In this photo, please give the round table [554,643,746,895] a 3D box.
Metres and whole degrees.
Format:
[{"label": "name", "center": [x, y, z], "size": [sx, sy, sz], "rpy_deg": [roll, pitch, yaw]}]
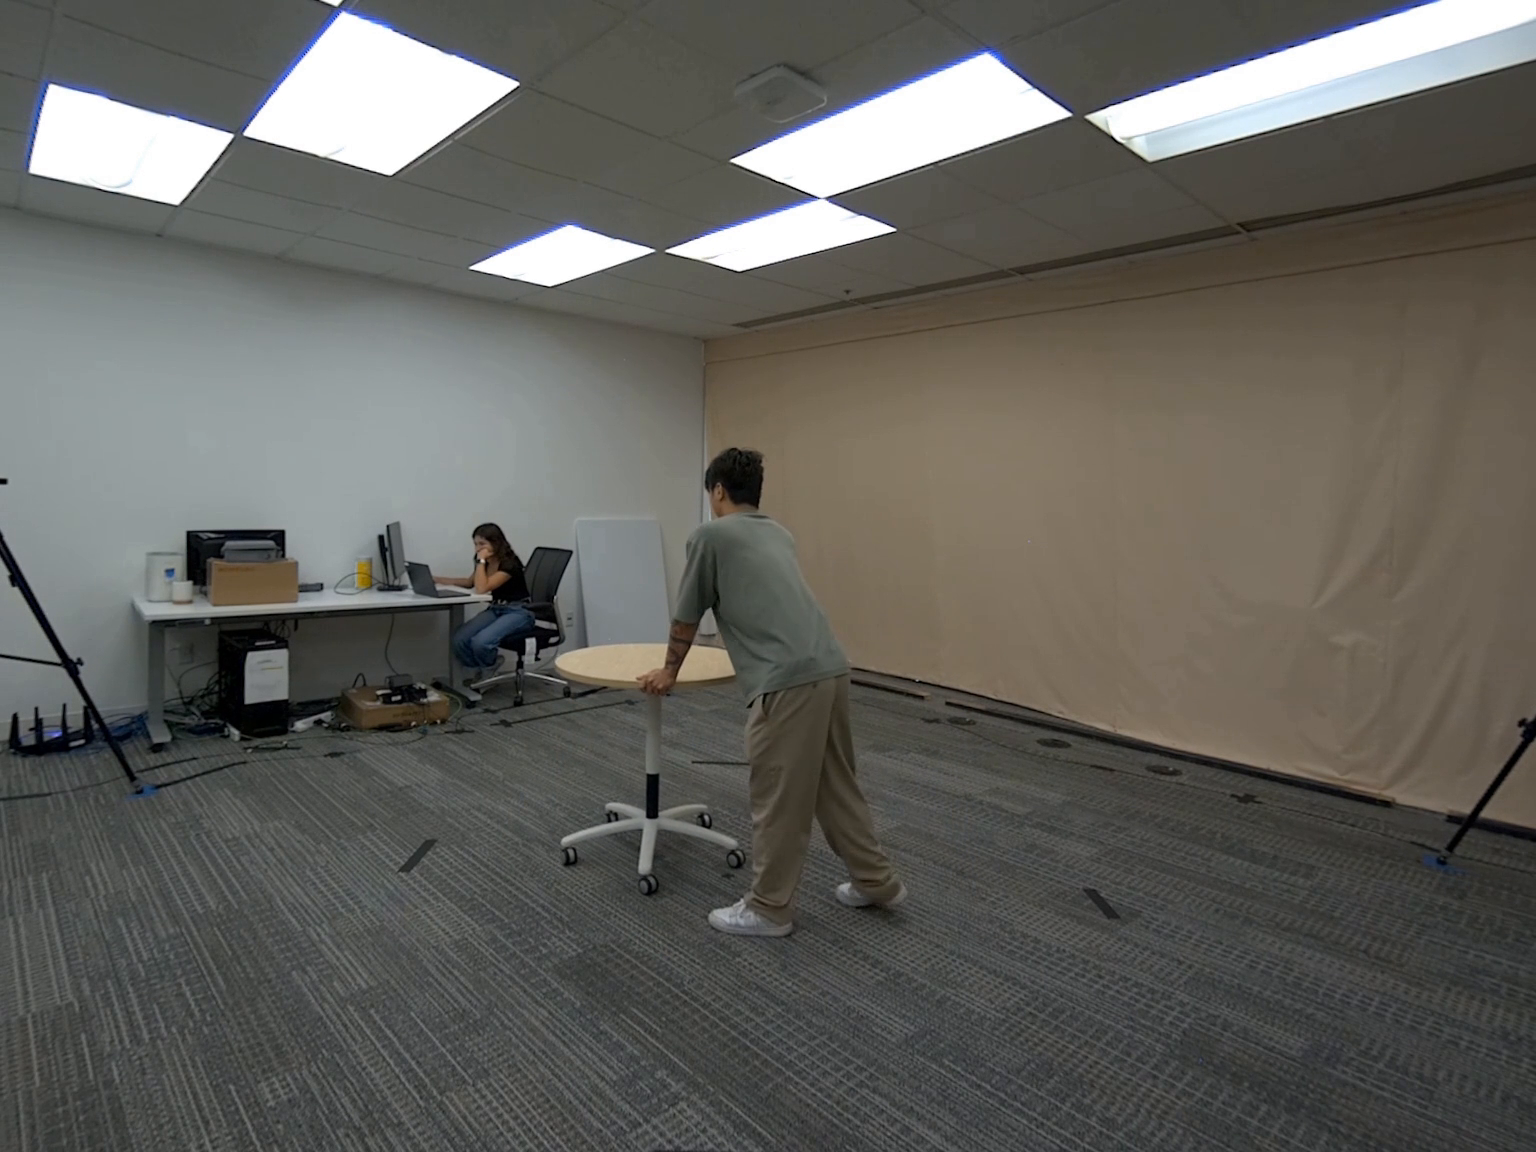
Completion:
[{"label": "round table", "center": [-0.433, 0.702, 3.284], "size": [0.784, 0.784, 0.787], "rpy_deg": [1, 4, -1]}]
